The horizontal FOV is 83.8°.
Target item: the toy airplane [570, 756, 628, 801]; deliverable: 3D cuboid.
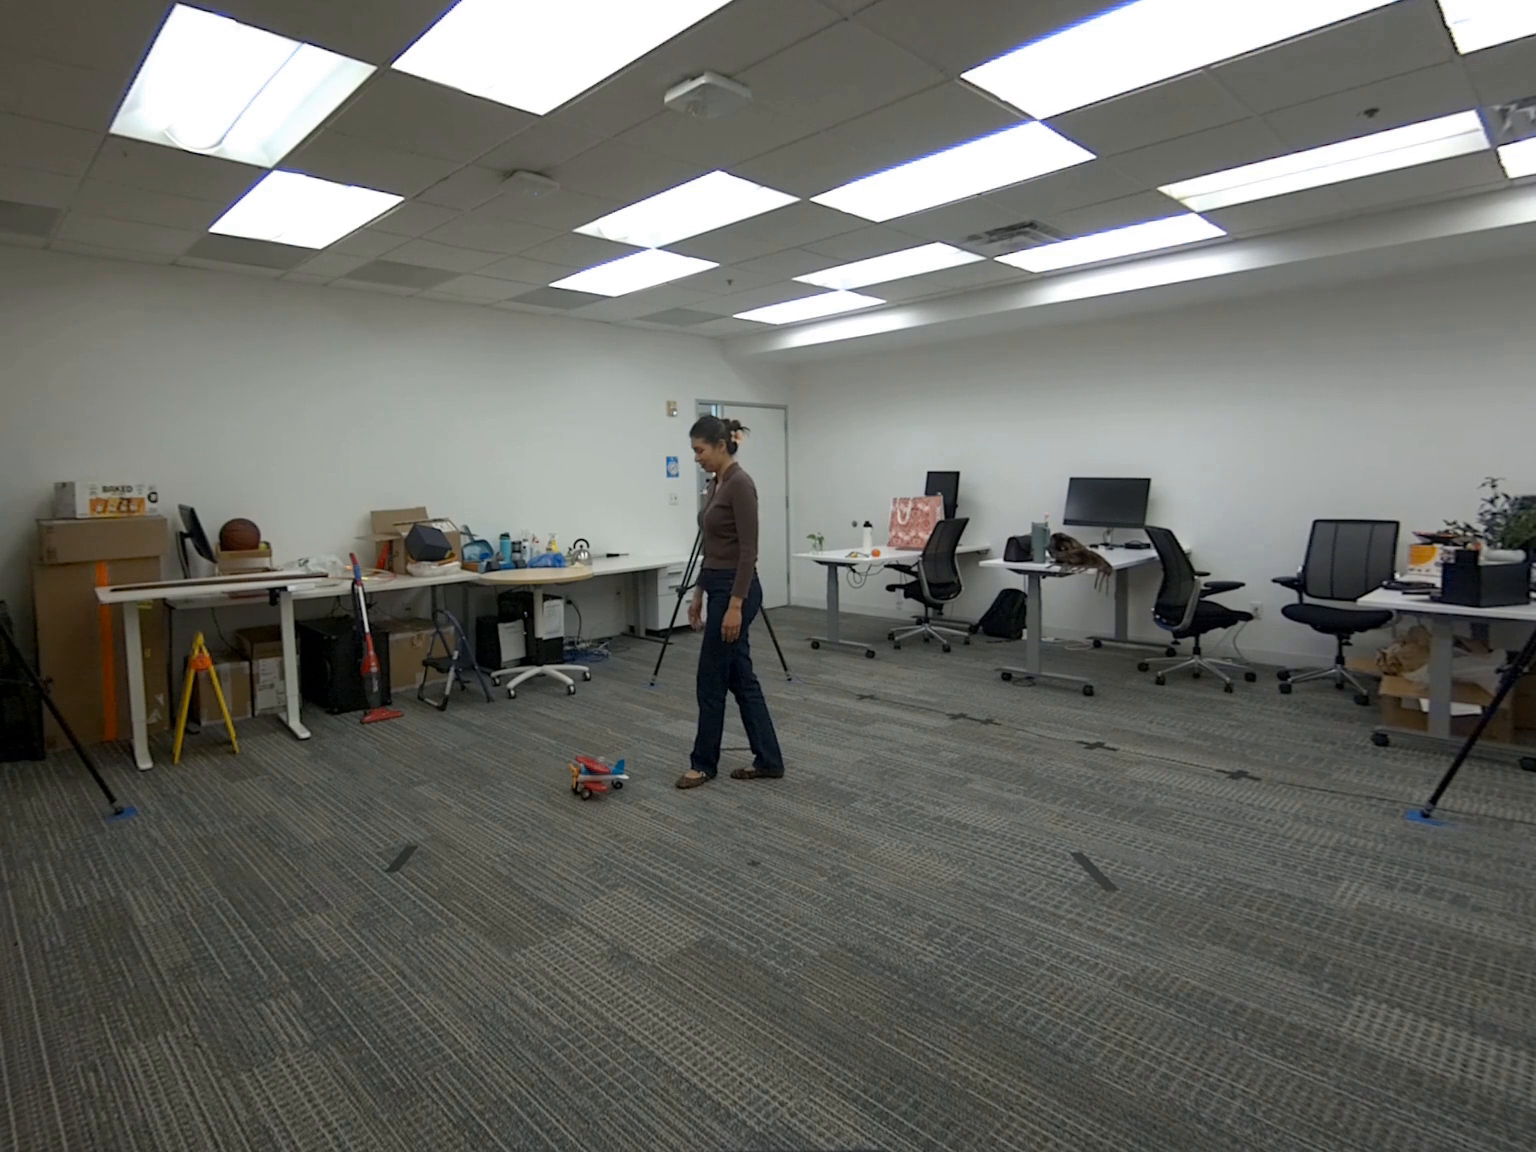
[{"bbox_3d":[-0.776,0.900,3.861,0.257,0.156,0.254,1,7,26],"label":"toy airplane"}]
